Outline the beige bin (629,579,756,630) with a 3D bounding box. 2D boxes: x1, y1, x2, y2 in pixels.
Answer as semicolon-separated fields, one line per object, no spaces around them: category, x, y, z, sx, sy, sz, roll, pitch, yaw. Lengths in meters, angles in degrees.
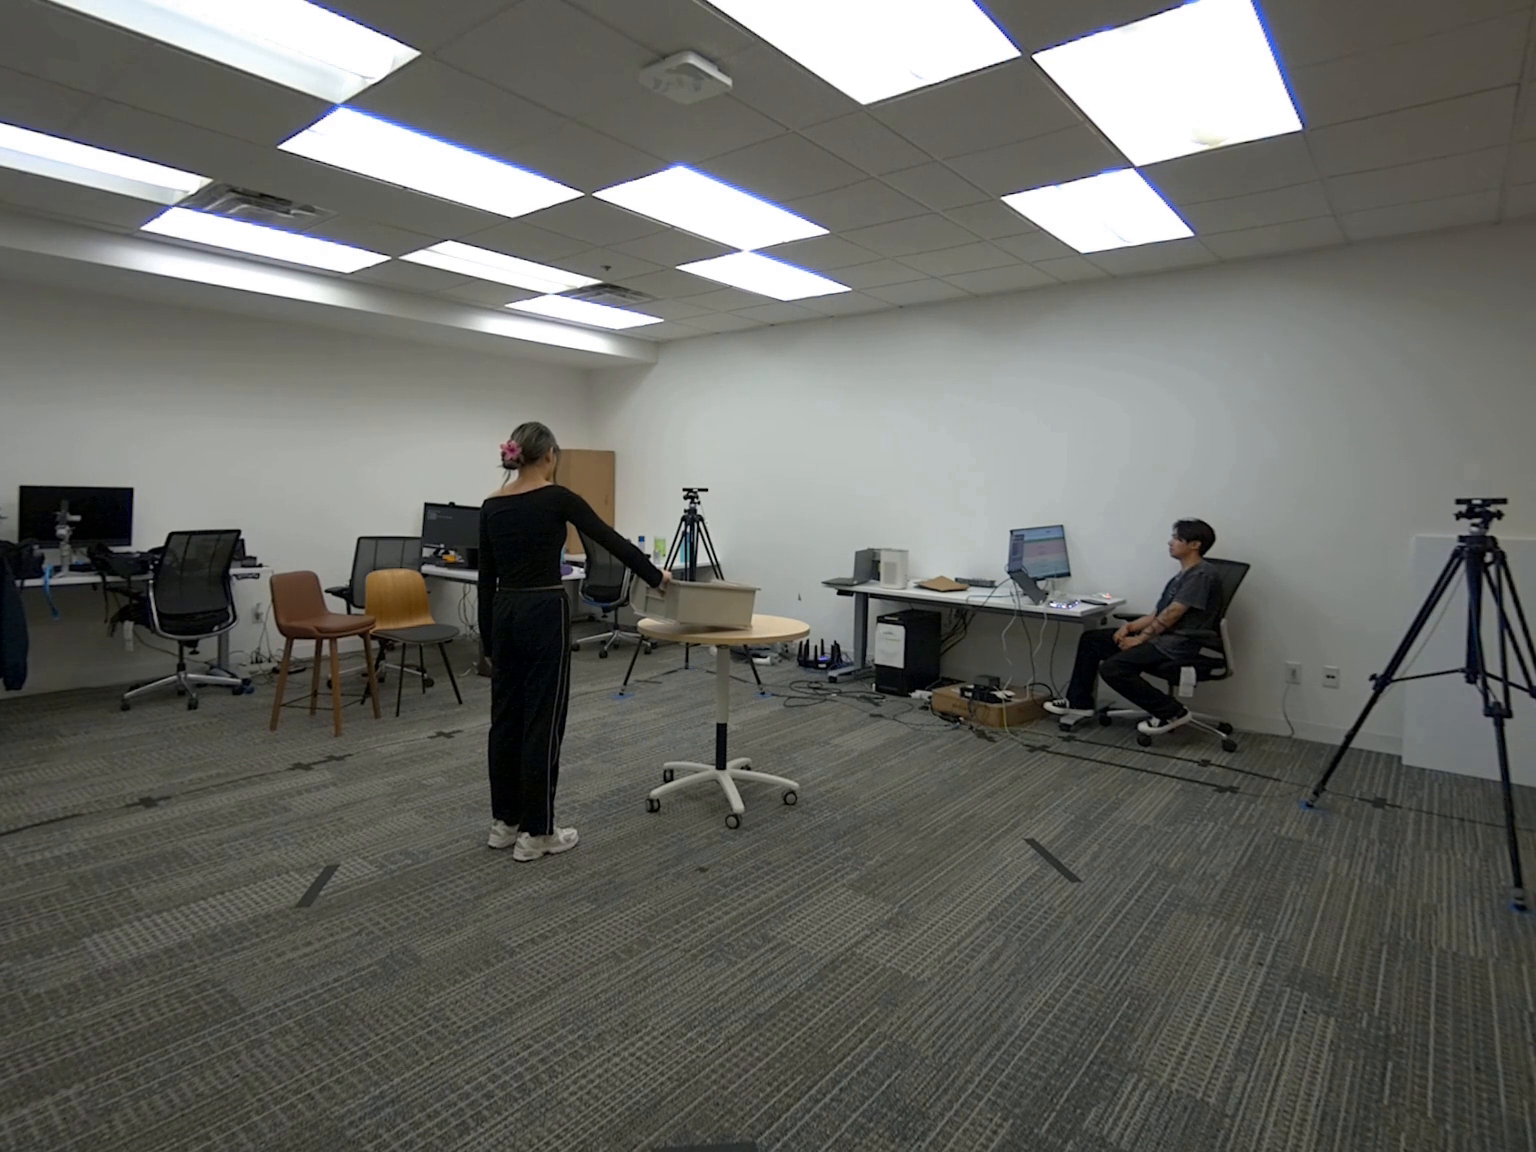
beige bin;-0.338;0.099;3.647;0.408;0.189;0.390;6;2;-38
